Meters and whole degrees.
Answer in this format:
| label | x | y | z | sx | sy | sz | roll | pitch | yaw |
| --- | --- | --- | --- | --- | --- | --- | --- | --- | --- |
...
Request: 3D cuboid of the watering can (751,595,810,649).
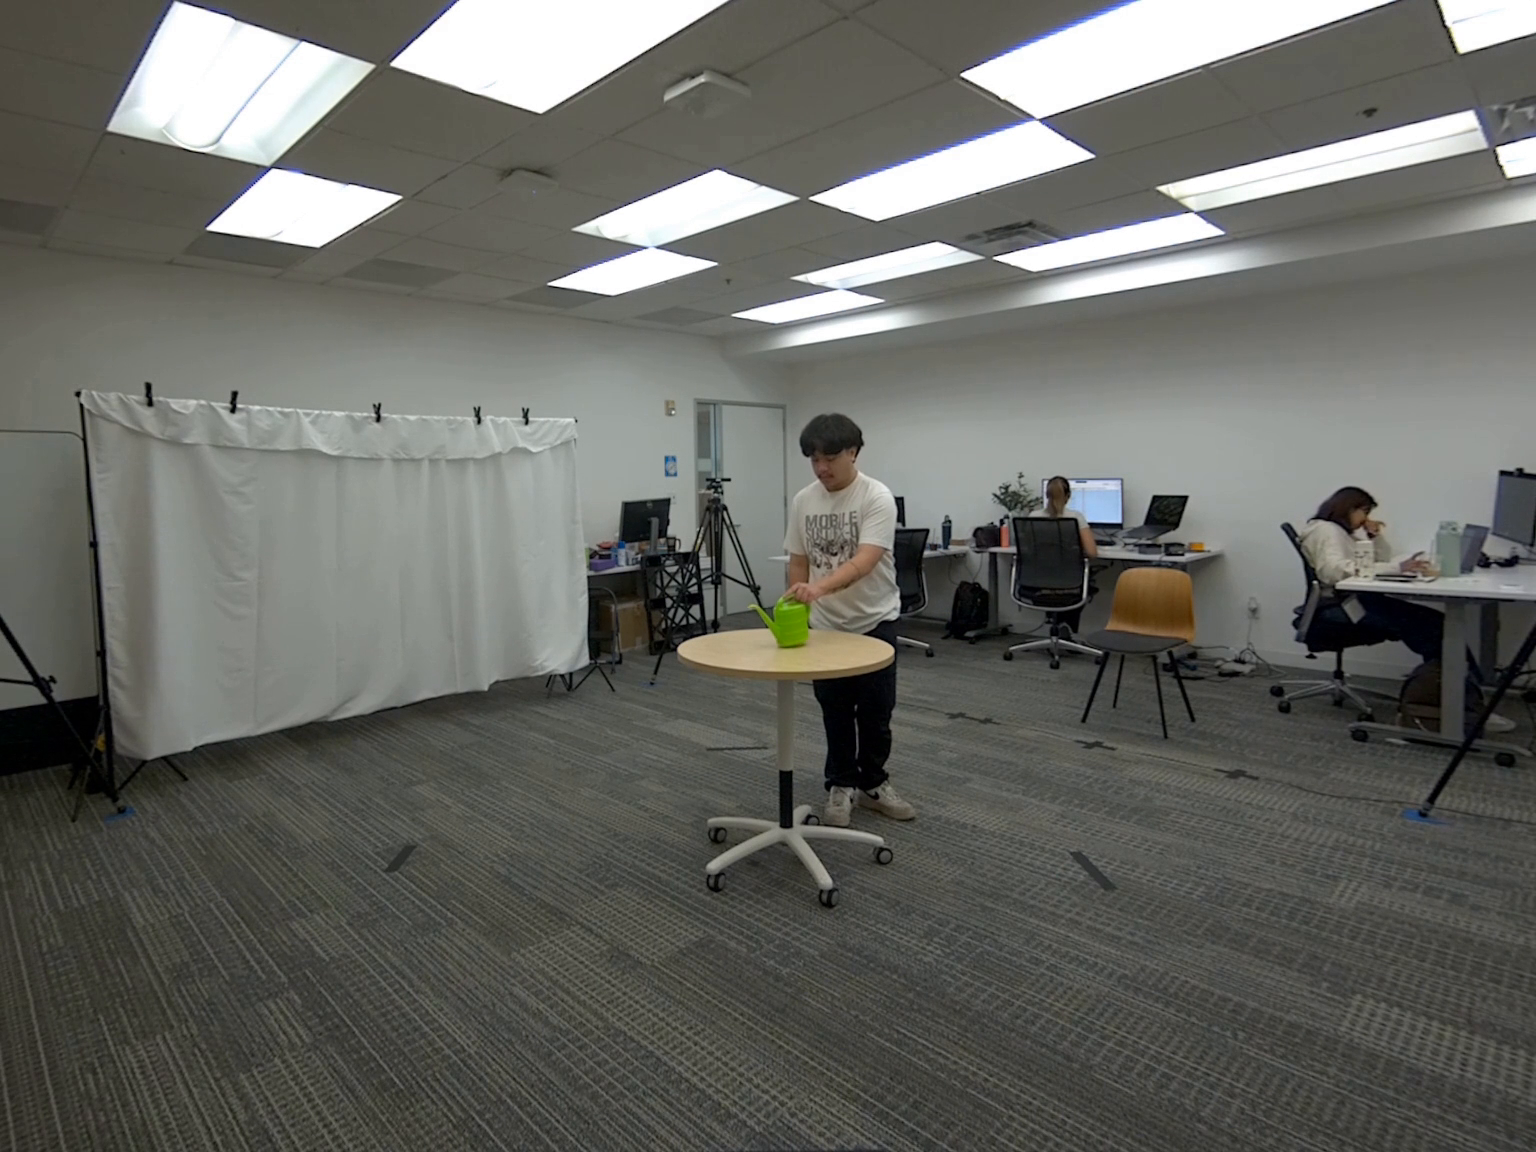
| label | x | y | z | sx | sy | sz | roll | pitch | yaw |
| --- | --- | --- | --- | --- | --- | --- | --- | --- | --- |
| watering can | 0.052 | 0.159 | 3.041 | 0.272 | 0.176 | 0.100 | -7 | 4 | -28 |
